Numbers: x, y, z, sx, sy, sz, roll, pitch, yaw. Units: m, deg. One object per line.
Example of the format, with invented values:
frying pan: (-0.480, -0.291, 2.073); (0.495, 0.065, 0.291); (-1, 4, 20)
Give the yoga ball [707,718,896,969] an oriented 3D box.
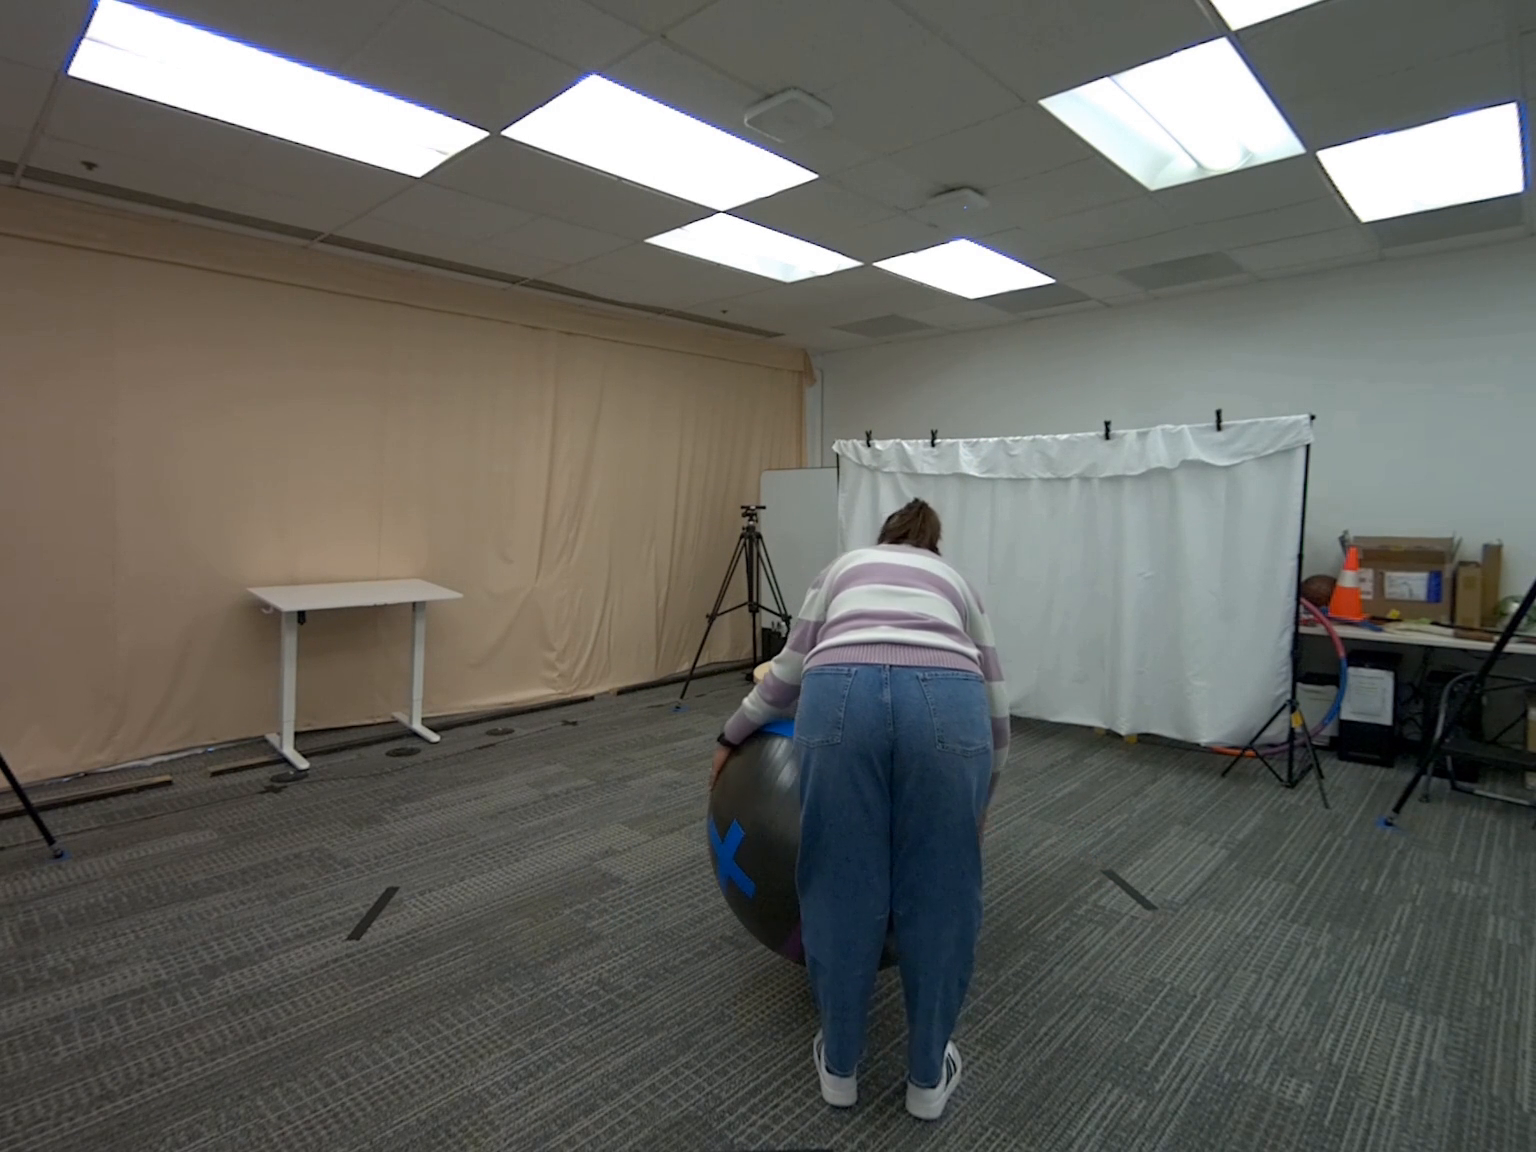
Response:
yoga ball: (0.211, 0.713, 2.379); (0.757, 0.756, 0.760); (0, 4, -2)
